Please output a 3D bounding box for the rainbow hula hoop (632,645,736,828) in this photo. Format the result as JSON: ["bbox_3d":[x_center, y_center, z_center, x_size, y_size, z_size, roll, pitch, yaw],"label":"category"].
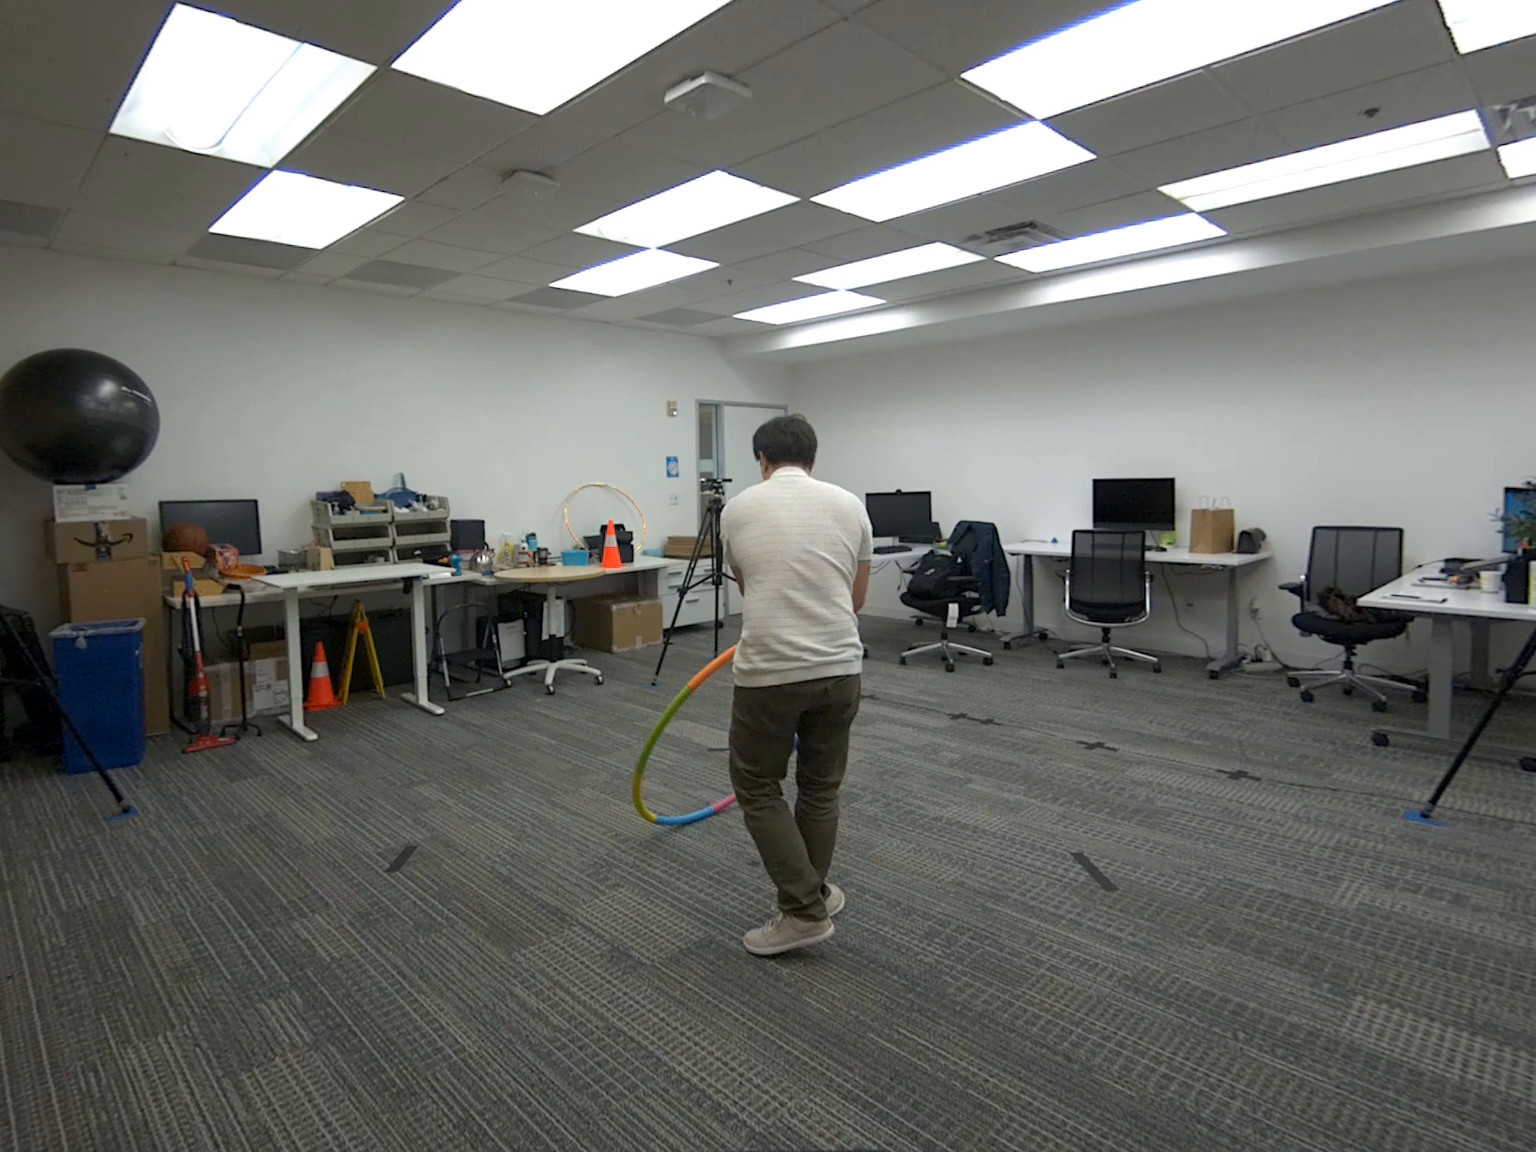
[{"bbox_3d":[-0.125,0.587,3.326,0.953,0.968,0.037,-6,38,-45],"label":"rainbow hula hoop"}]
